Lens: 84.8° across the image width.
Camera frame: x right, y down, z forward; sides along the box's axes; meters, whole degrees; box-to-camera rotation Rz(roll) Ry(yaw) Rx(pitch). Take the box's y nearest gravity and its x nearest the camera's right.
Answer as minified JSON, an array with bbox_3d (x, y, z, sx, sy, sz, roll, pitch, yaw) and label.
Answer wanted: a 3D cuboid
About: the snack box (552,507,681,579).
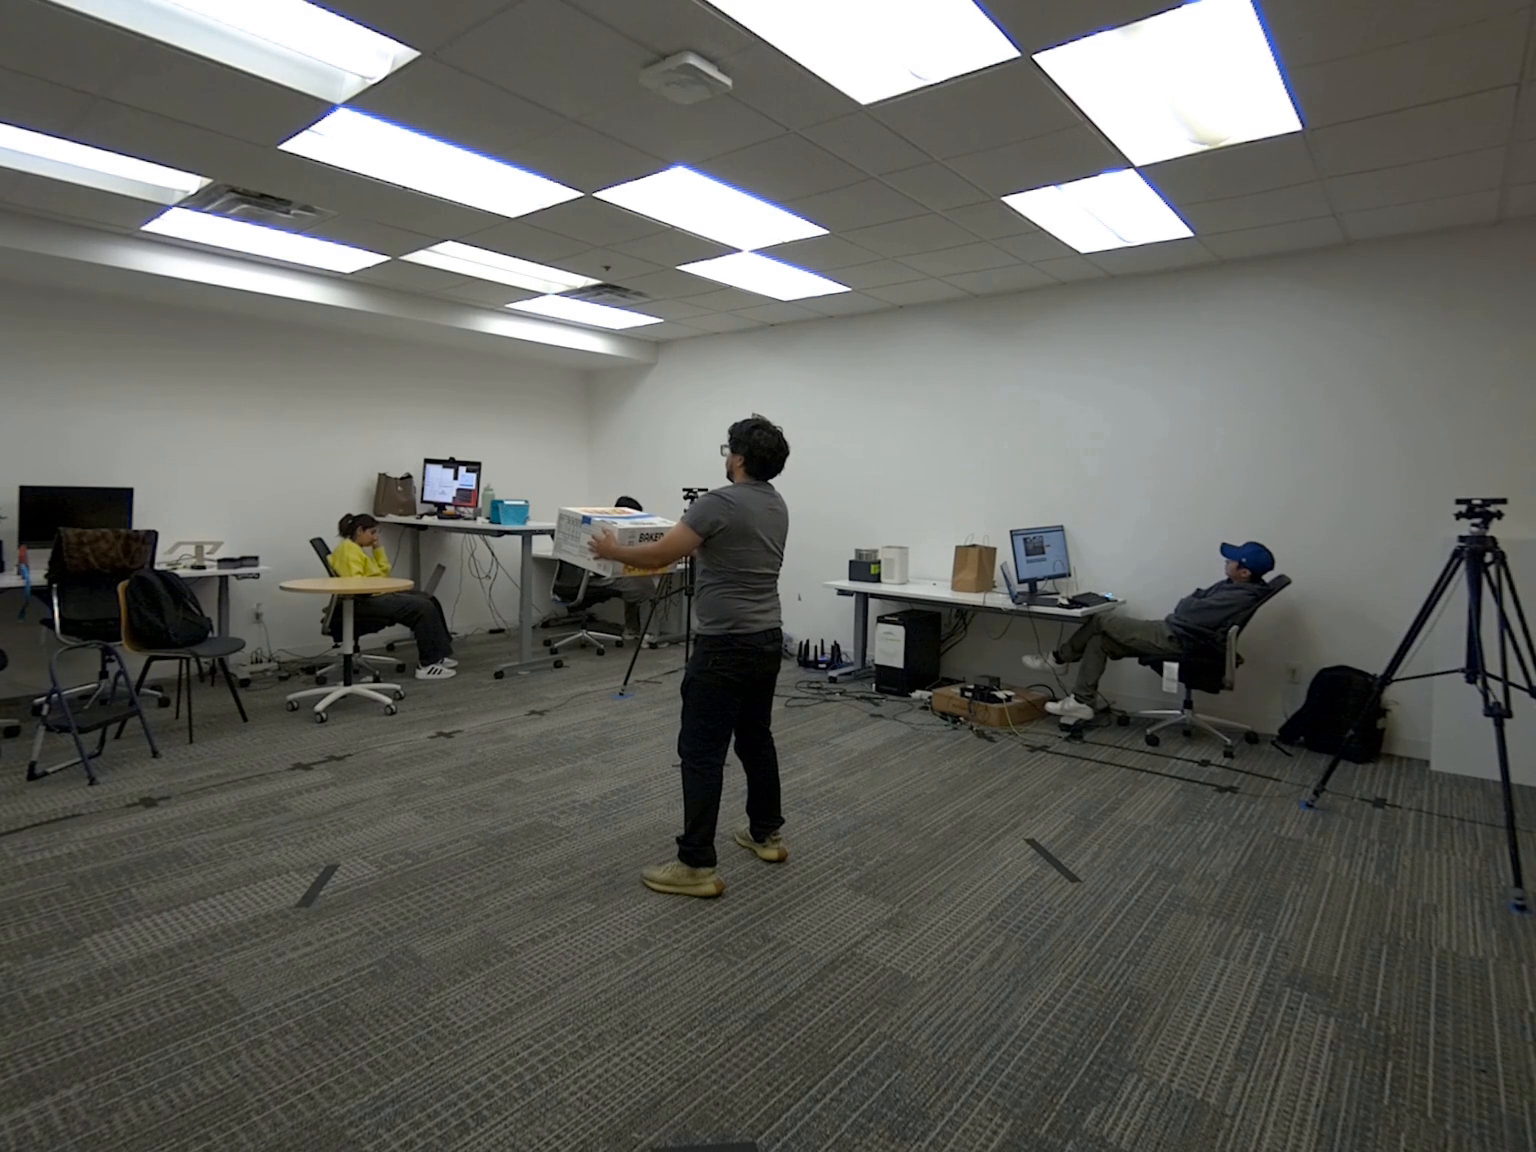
[{"bbox_3d":[-0.620,-0.147,3.483,0.352,0.204,0.394,17,13,32],"label":"snack box"}]
